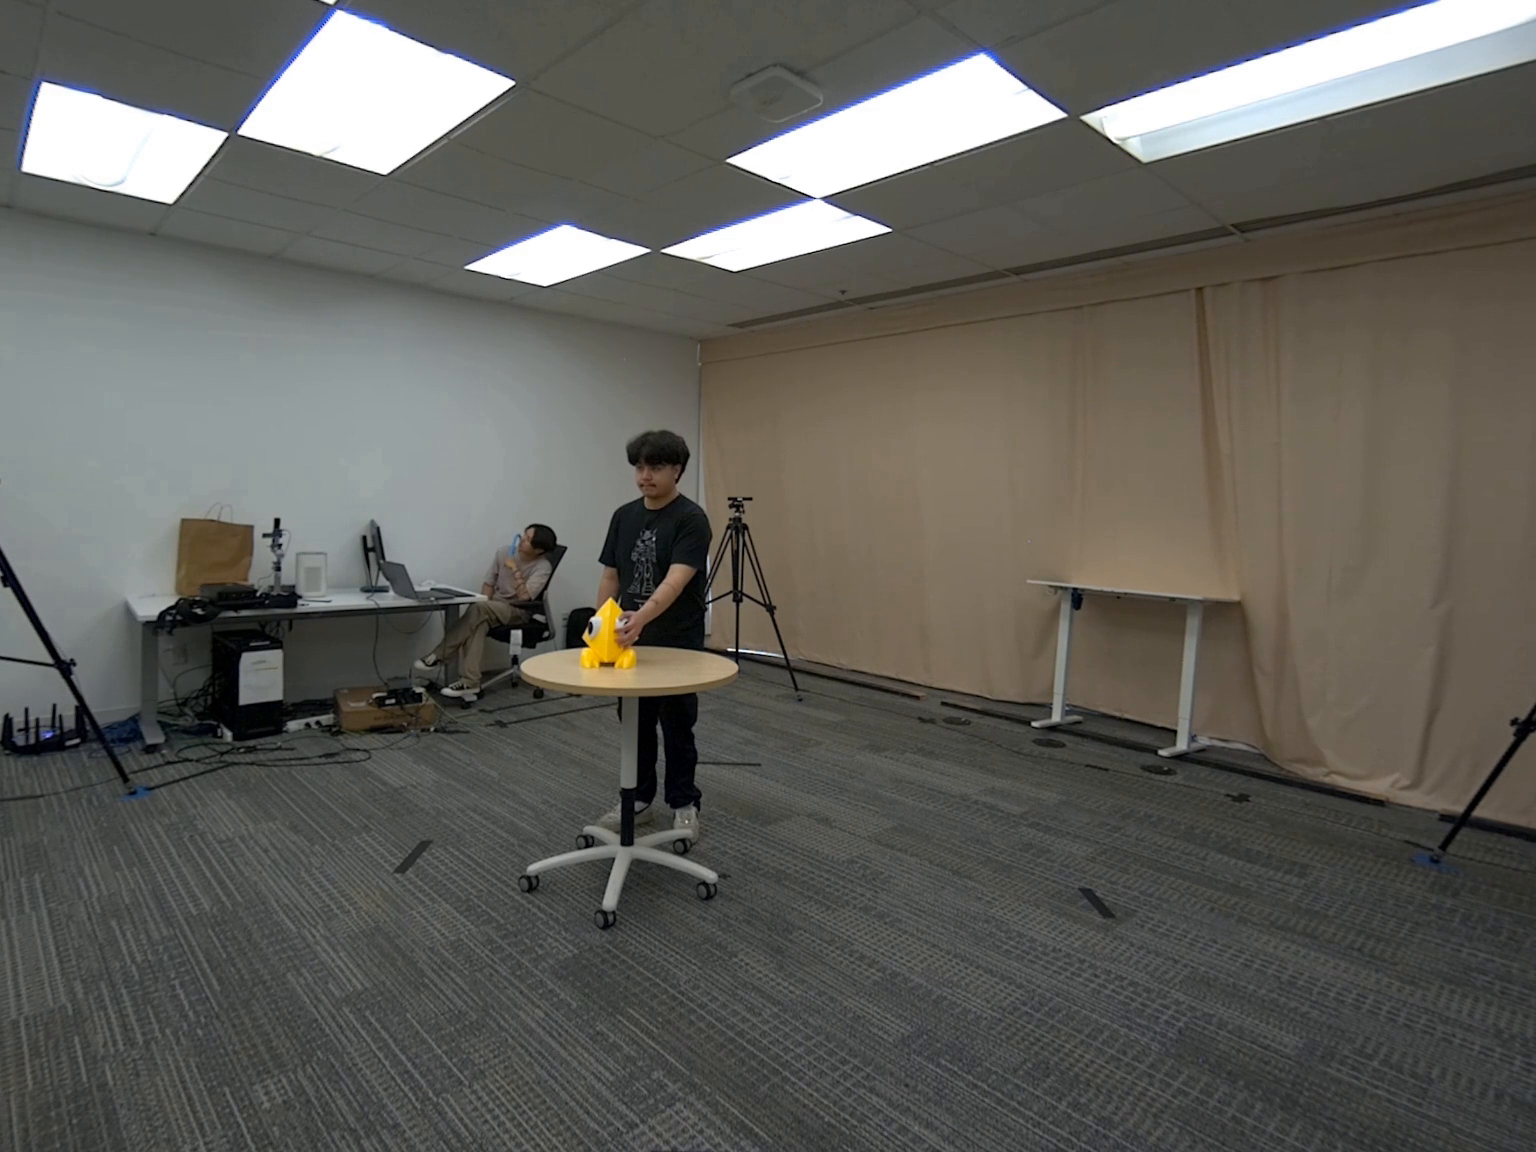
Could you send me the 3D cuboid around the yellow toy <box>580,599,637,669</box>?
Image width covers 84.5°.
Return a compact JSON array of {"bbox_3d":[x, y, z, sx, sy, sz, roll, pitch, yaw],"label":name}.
[{"bbox_3d":[-0.586,0.201,3.000,0.204,0.230,0.194,2,4,-5],"label":"yellow toy"}]
